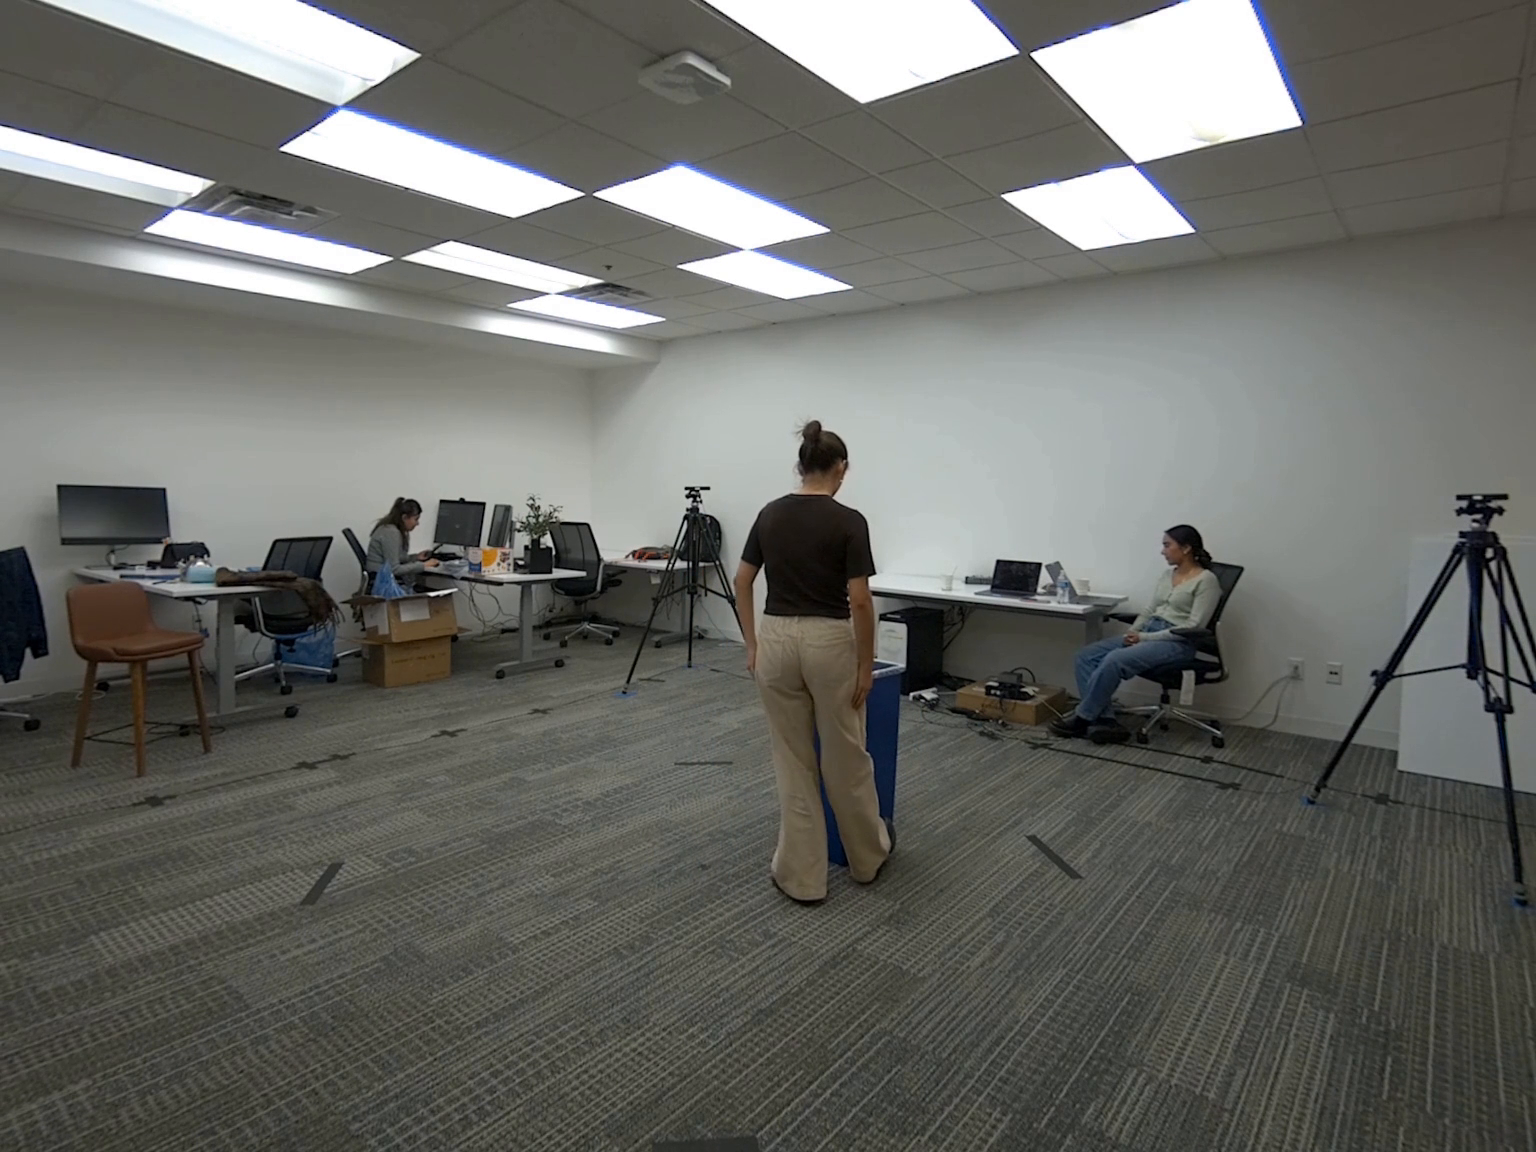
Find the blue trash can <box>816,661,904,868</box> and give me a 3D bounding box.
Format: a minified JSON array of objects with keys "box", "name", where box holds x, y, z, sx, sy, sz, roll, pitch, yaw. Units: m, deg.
[{"box":[0.277,0.690,3.337,0.363,0.711,0.391,-3,5,-45],"name":"blue trash can"}]
